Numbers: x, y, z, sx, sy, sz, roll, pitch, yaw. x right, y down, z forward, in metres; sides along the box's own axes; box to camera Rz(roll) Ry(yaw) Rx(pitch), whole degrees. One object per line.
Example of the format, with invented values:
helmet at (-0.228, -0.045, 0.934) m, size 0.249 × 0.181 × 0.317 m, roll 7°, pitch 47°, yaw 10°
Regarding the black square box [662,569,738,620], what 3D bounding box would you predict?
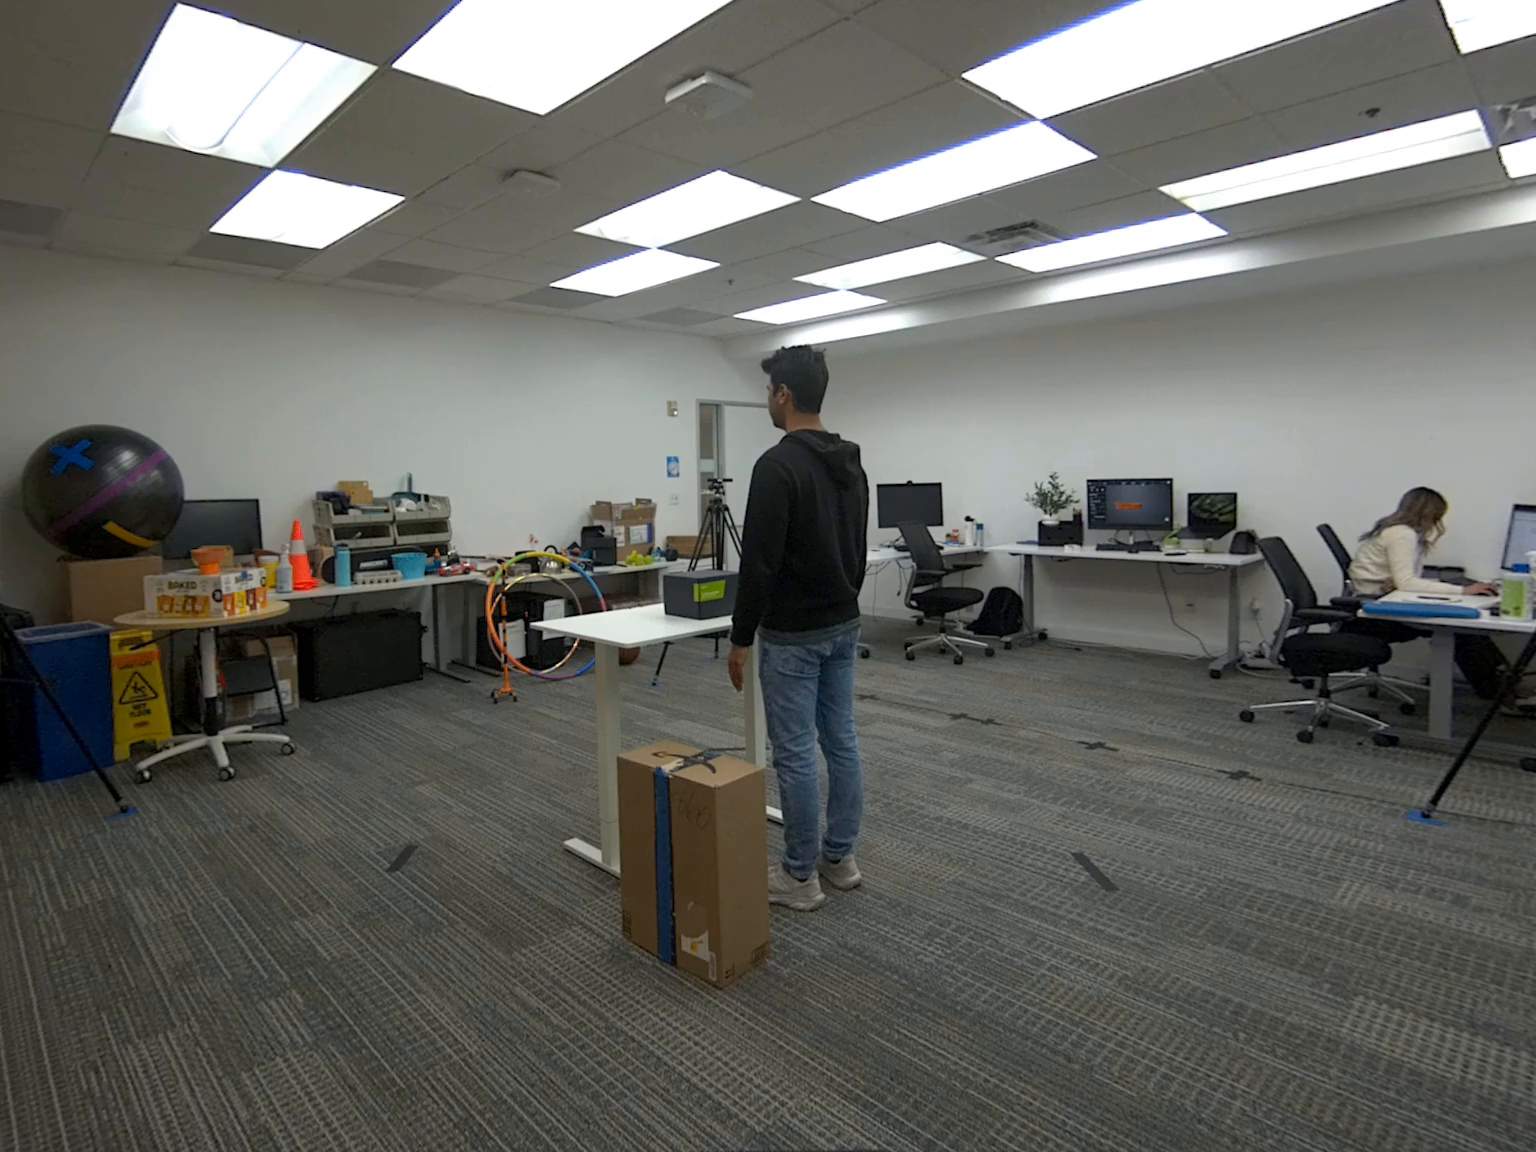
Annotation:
black square box at (-0.242, 0.066, 3.273) m, size 0.222 × 0.155 × 0.224 m, roll -6°, pitch 8°, yaw -43°
